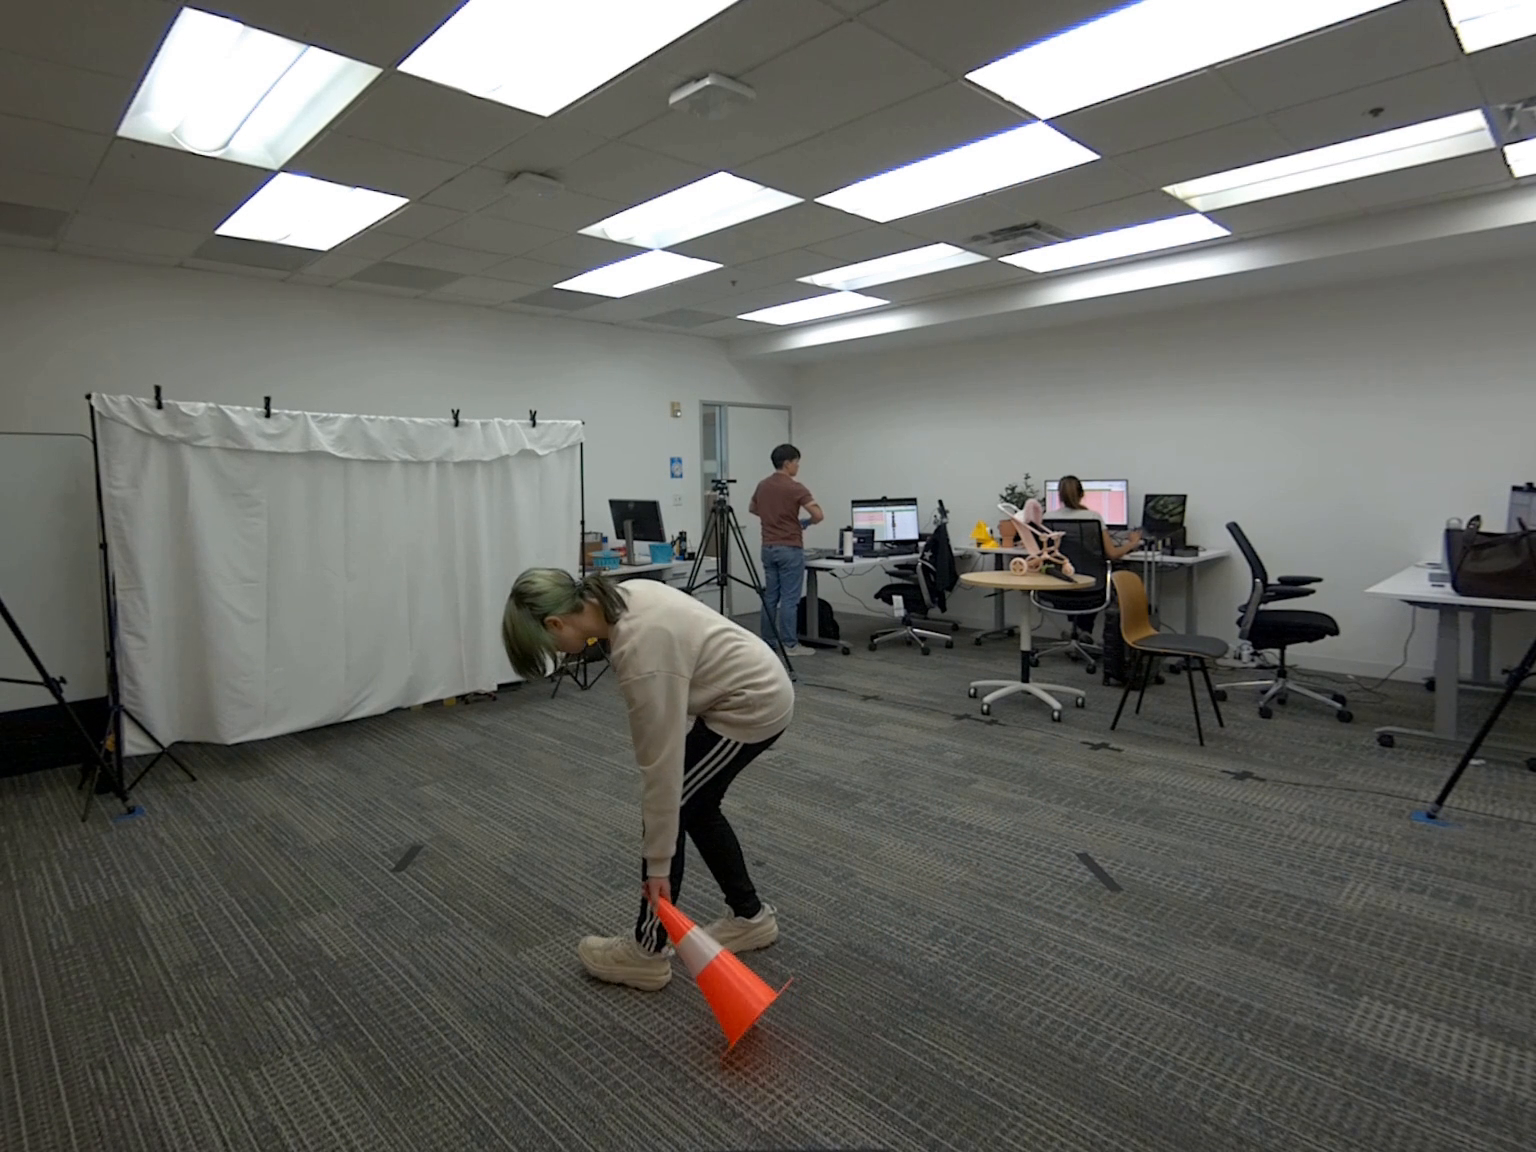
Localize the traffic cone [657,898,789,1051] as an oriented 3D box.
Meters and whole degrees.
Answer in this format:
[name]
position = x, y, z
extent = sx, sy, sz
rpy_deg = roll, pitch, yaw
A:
[traffic cone]
position = -0.159, 0.971, 2.156
extent = 0.394, 0.202, 0.201
rpy_deg = 40, 24, 19
